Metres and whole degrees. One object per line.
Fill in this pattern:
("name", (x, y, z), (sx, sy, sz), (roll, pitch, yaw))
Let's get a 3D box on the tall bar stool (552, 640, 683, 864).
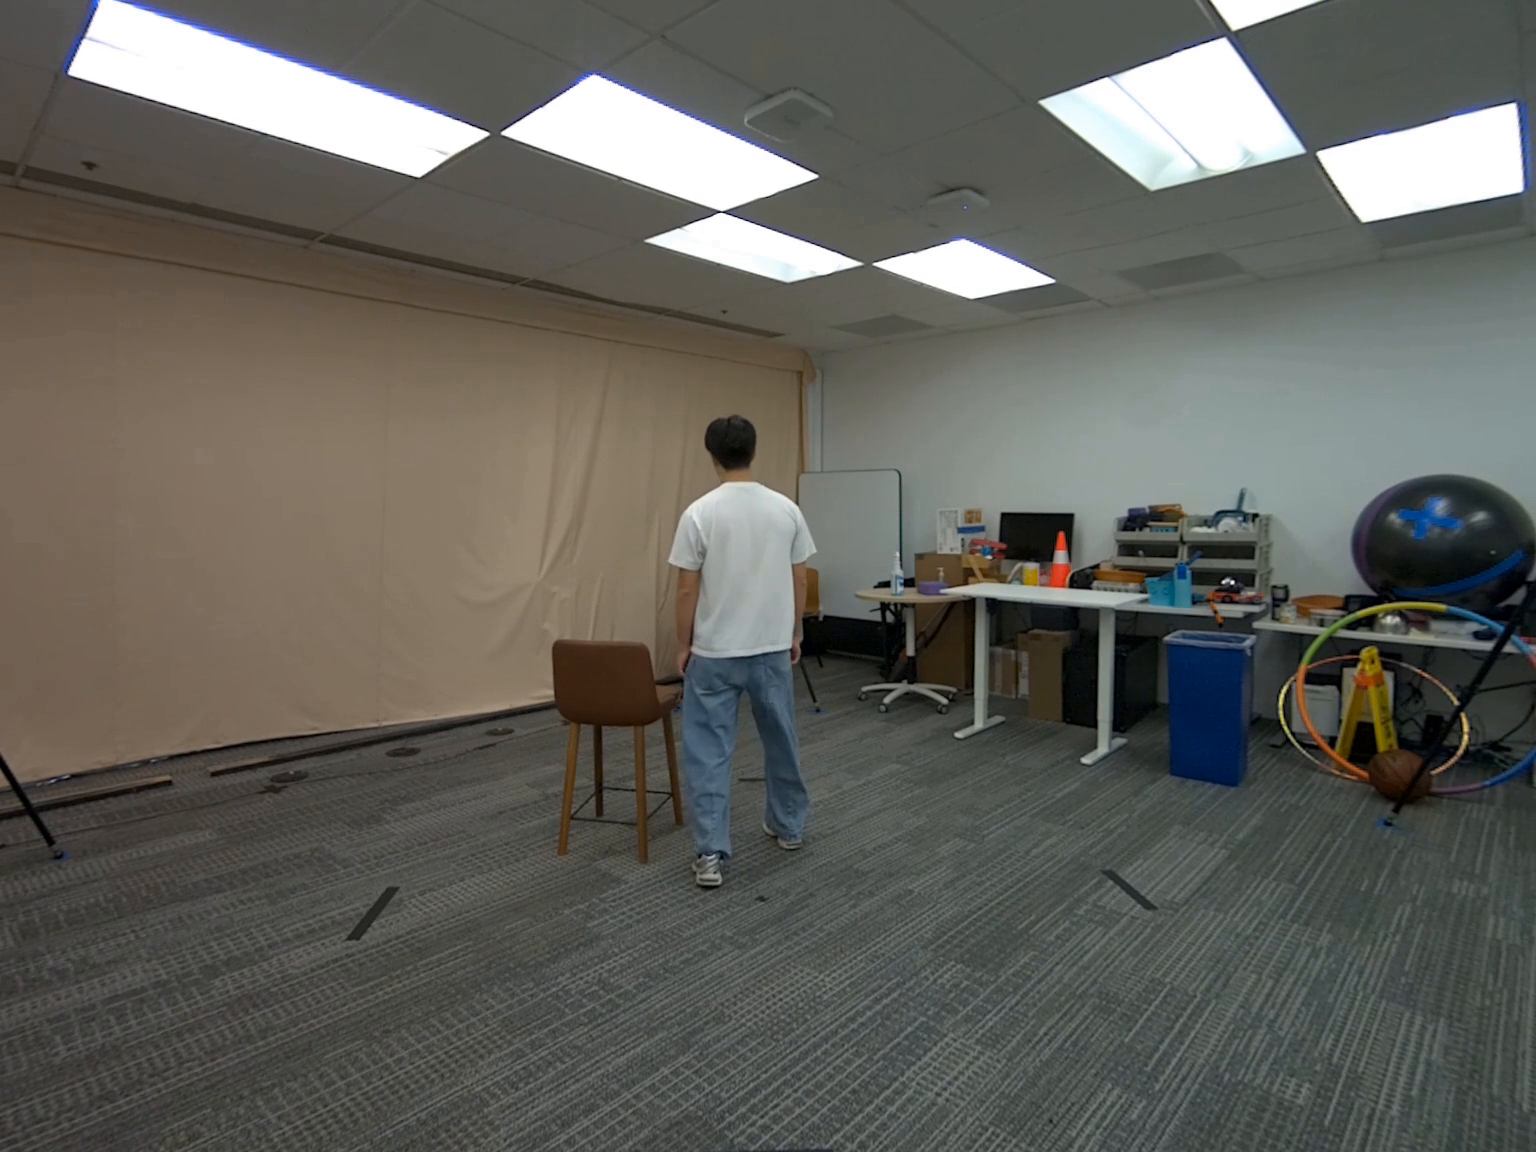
("tall bar stool", (-0.628, 0.674, 3.521), (0.464, 0.887, 0.462), (-1, 4, 14))
